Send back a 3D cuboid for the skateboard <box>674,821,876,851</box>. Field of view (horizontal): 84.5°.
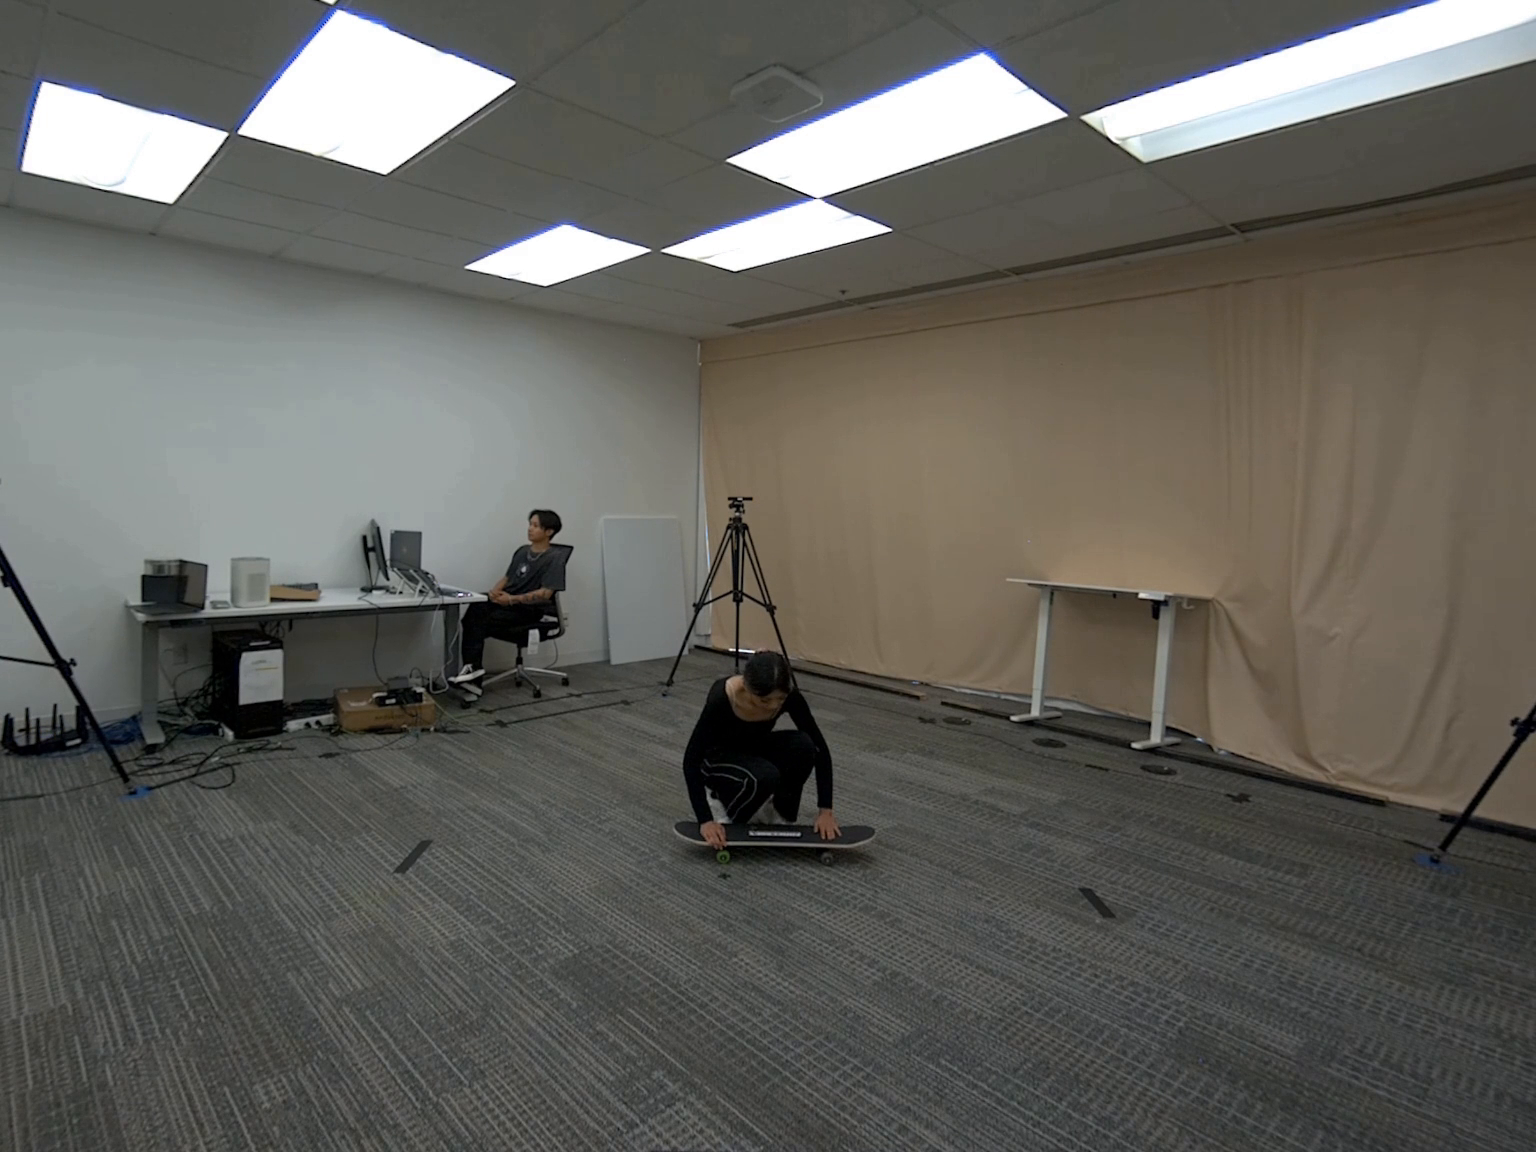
[{"bbox_3d":[0.017,1.033,3.284,0.785,0.110,0.194,1,5,0],"label":"skateboard"}]
